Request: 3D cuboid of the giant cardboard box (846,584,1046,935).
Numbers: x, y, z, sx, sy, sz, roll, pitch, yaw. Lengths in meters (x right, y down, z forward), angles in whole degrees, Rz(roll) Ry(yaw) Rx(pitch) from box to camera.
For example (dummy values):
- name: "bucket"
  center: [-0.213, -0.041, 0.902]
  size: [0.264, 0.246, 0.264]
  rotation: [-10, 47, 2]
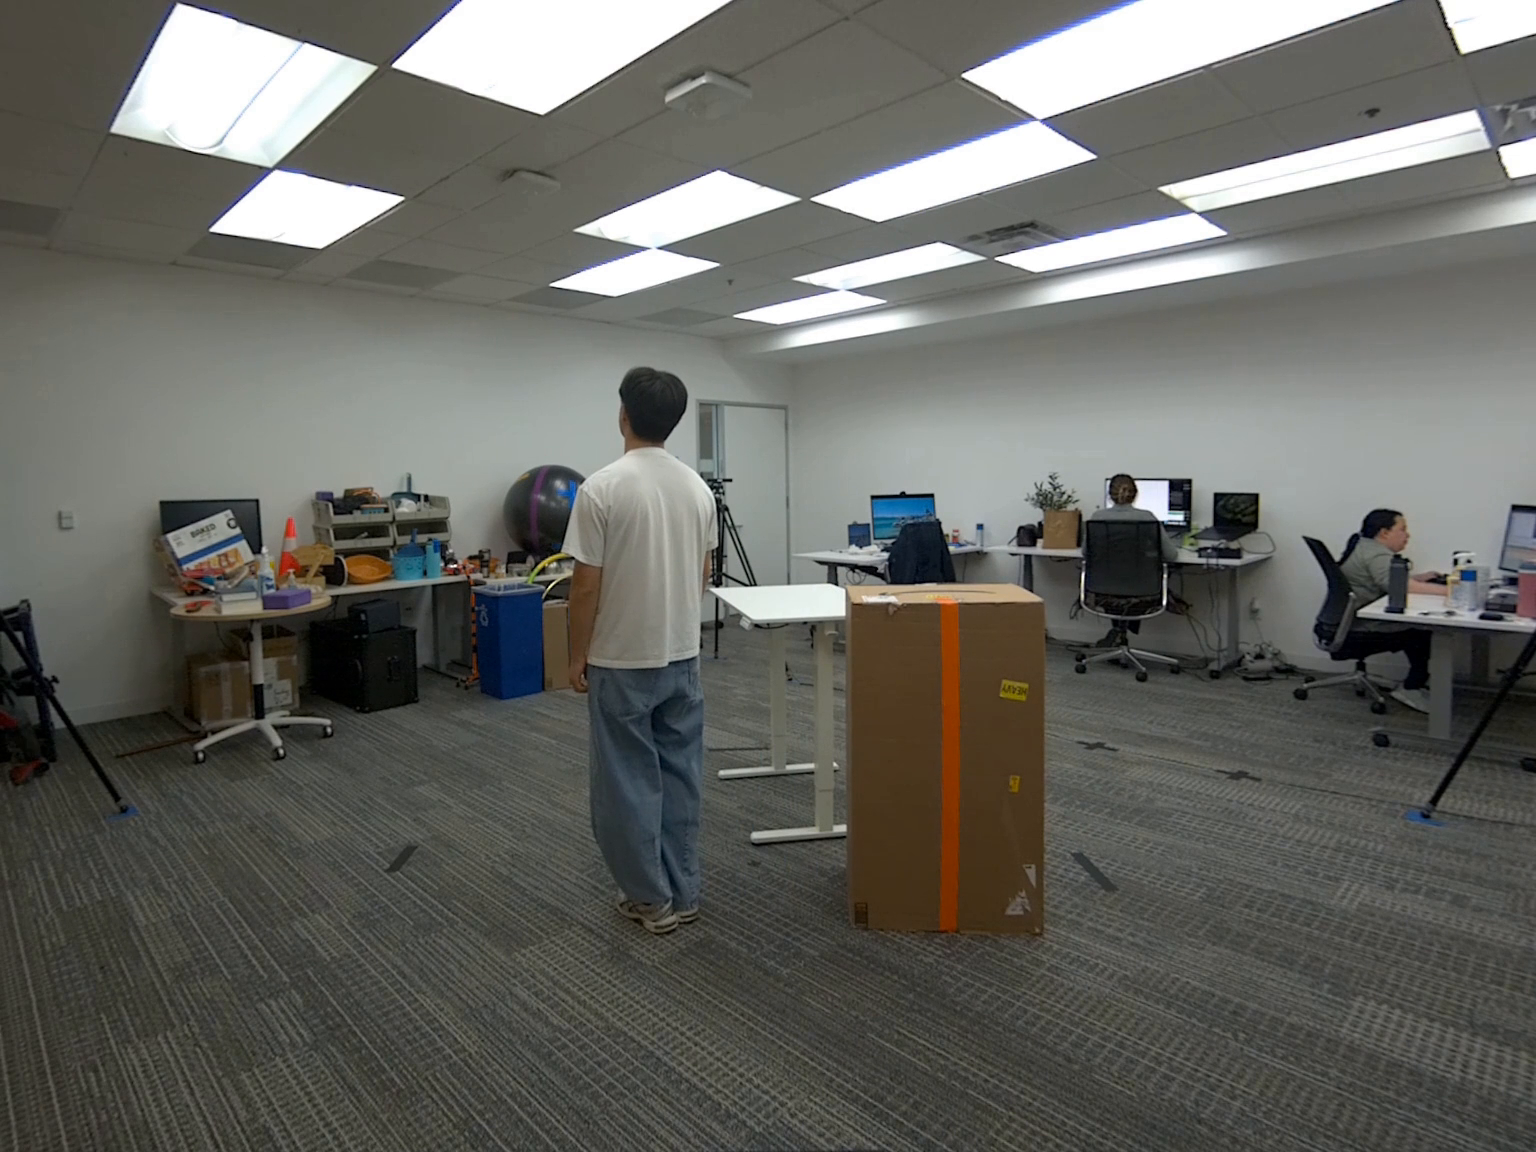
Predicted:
- name: "giant cardboard box"
  center: [0.560, 0.563, 2.788]
  size: [0.580, 1.022, 0.426]
  rotation: [0, 4, 5]
